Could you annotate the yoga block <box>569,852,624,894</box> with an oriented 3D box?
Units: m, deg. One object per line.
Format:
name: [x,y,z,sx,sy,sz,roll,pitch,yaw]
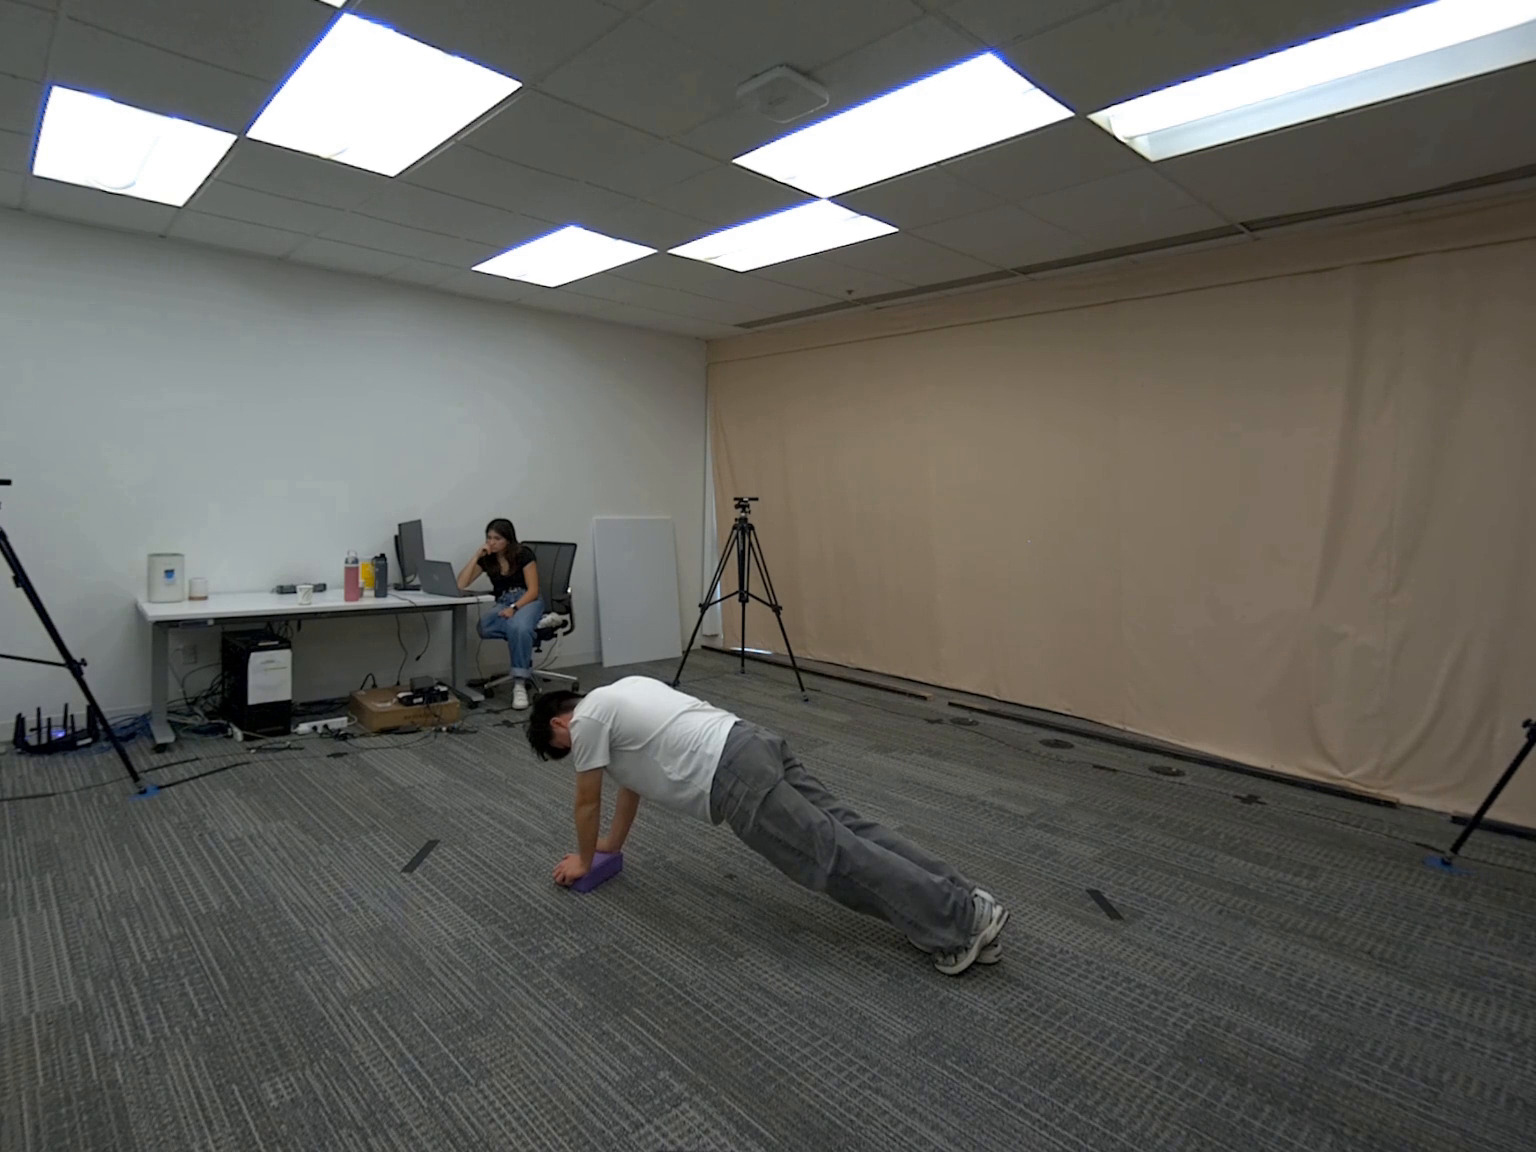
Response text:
yoga block: [-0.661,1.069,3.067,0.152,0.076,0.225,3,6,27]
